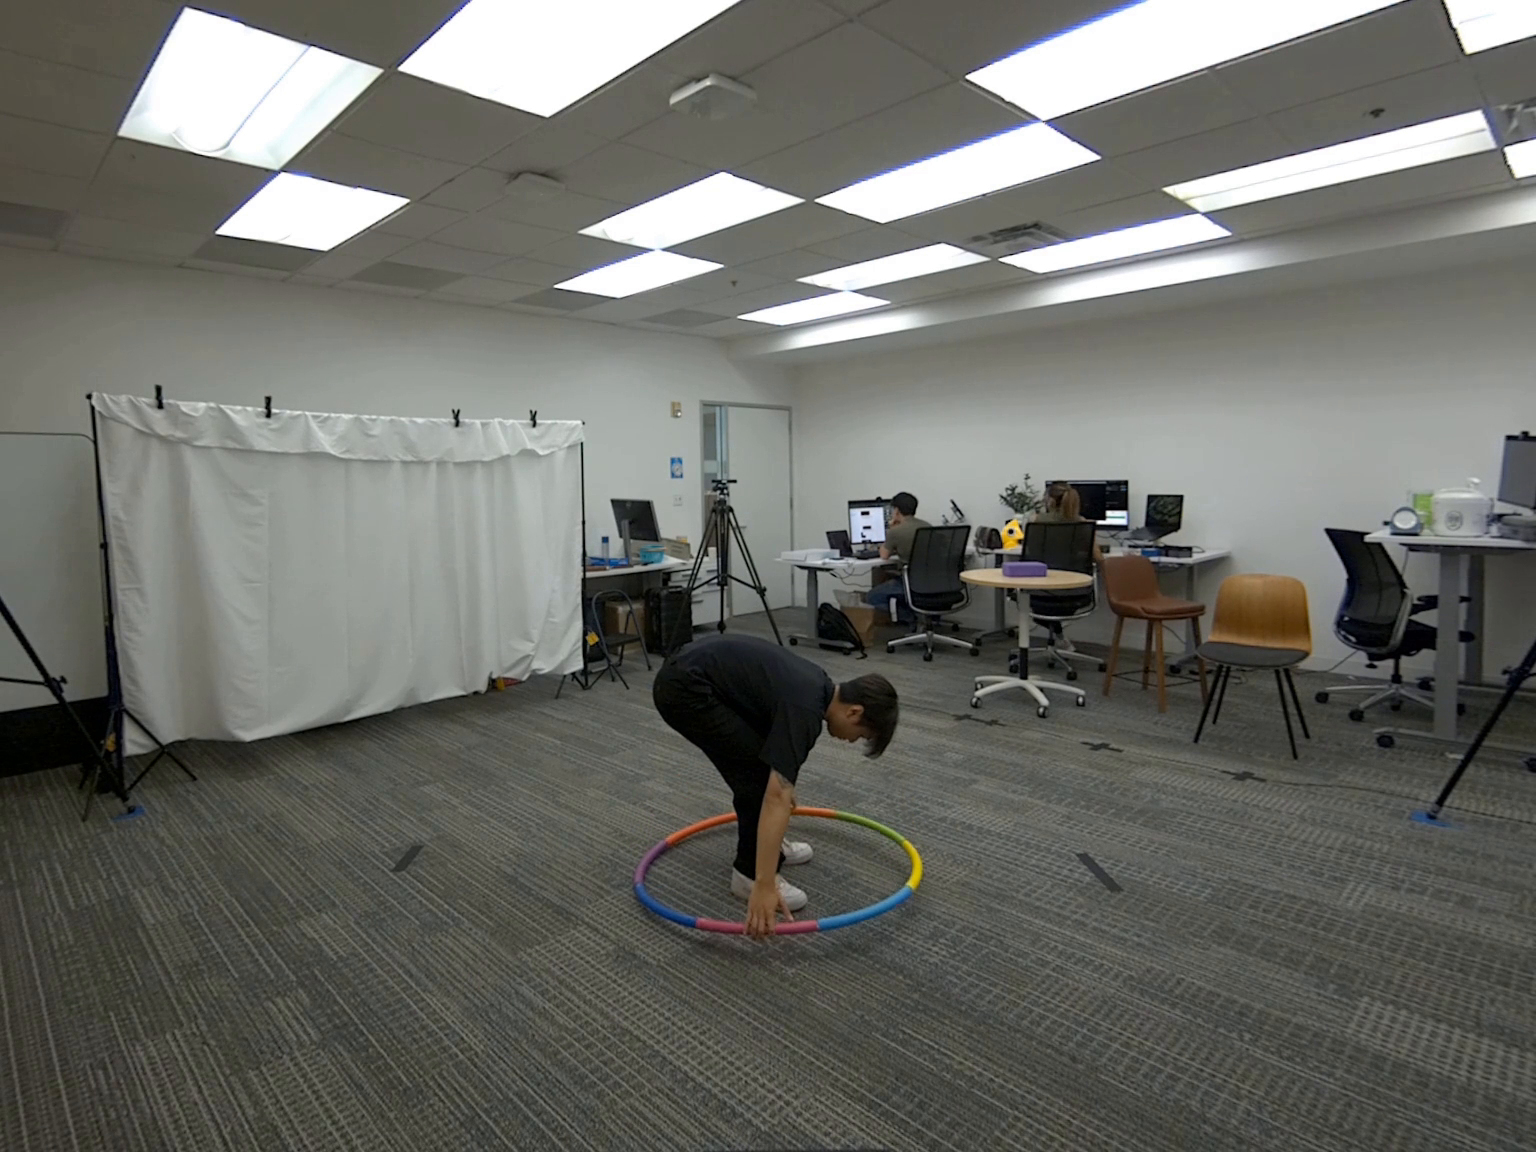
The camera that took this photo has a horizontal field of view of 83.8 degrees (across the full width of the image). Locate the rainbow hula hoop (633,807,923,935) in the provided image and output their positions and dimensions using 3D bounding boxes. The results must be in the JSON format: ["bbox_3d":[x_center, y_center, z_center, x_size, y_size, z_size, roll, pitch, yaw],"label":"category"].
[{"bbox_3d":[0.023,0.991,2.972,0.978,0.035,0.983,-5,5,-1],"label":"rainbow hula hoop"}]
